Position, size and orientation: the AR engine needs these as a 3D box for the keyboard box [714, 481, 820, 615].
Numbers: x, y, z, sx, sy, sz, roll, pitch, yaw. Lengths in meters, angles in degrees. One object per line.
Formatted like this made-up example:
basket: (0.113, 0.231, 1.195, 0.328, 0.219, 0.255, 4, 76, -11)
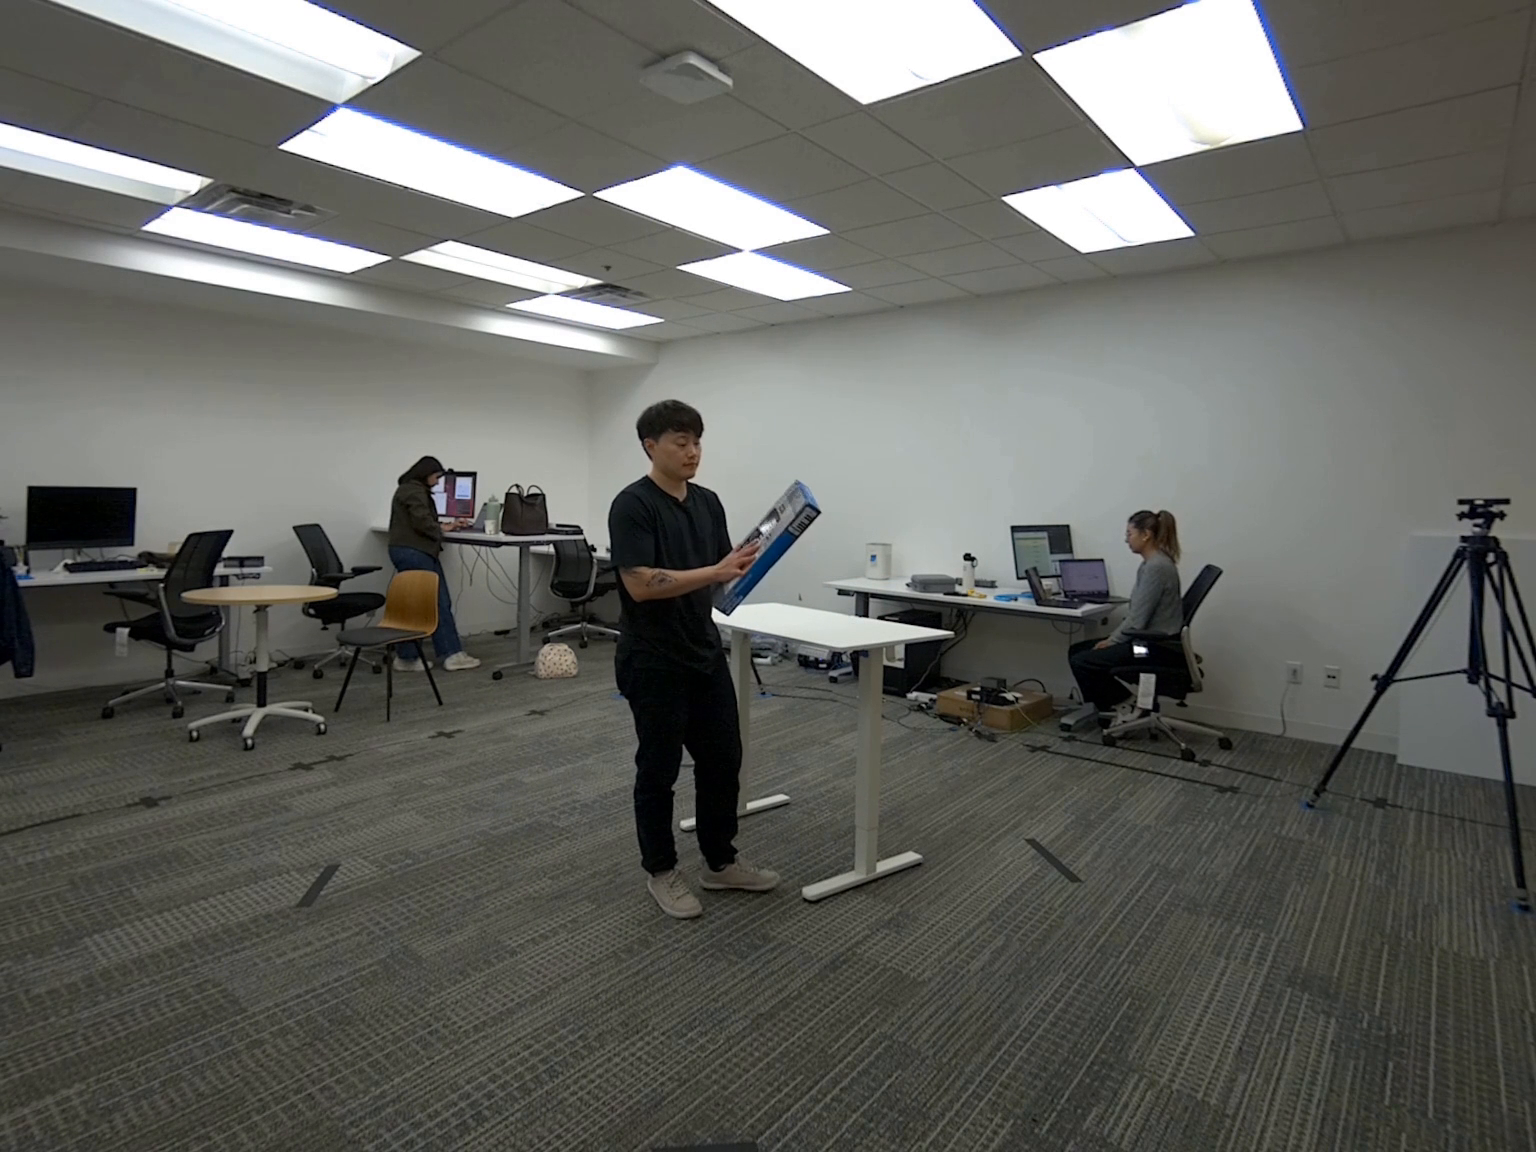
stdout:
keyboard box: (-0.022, -0.081, 2.596, 0.057, 0.436, 0.181, 34, 18, -25)
